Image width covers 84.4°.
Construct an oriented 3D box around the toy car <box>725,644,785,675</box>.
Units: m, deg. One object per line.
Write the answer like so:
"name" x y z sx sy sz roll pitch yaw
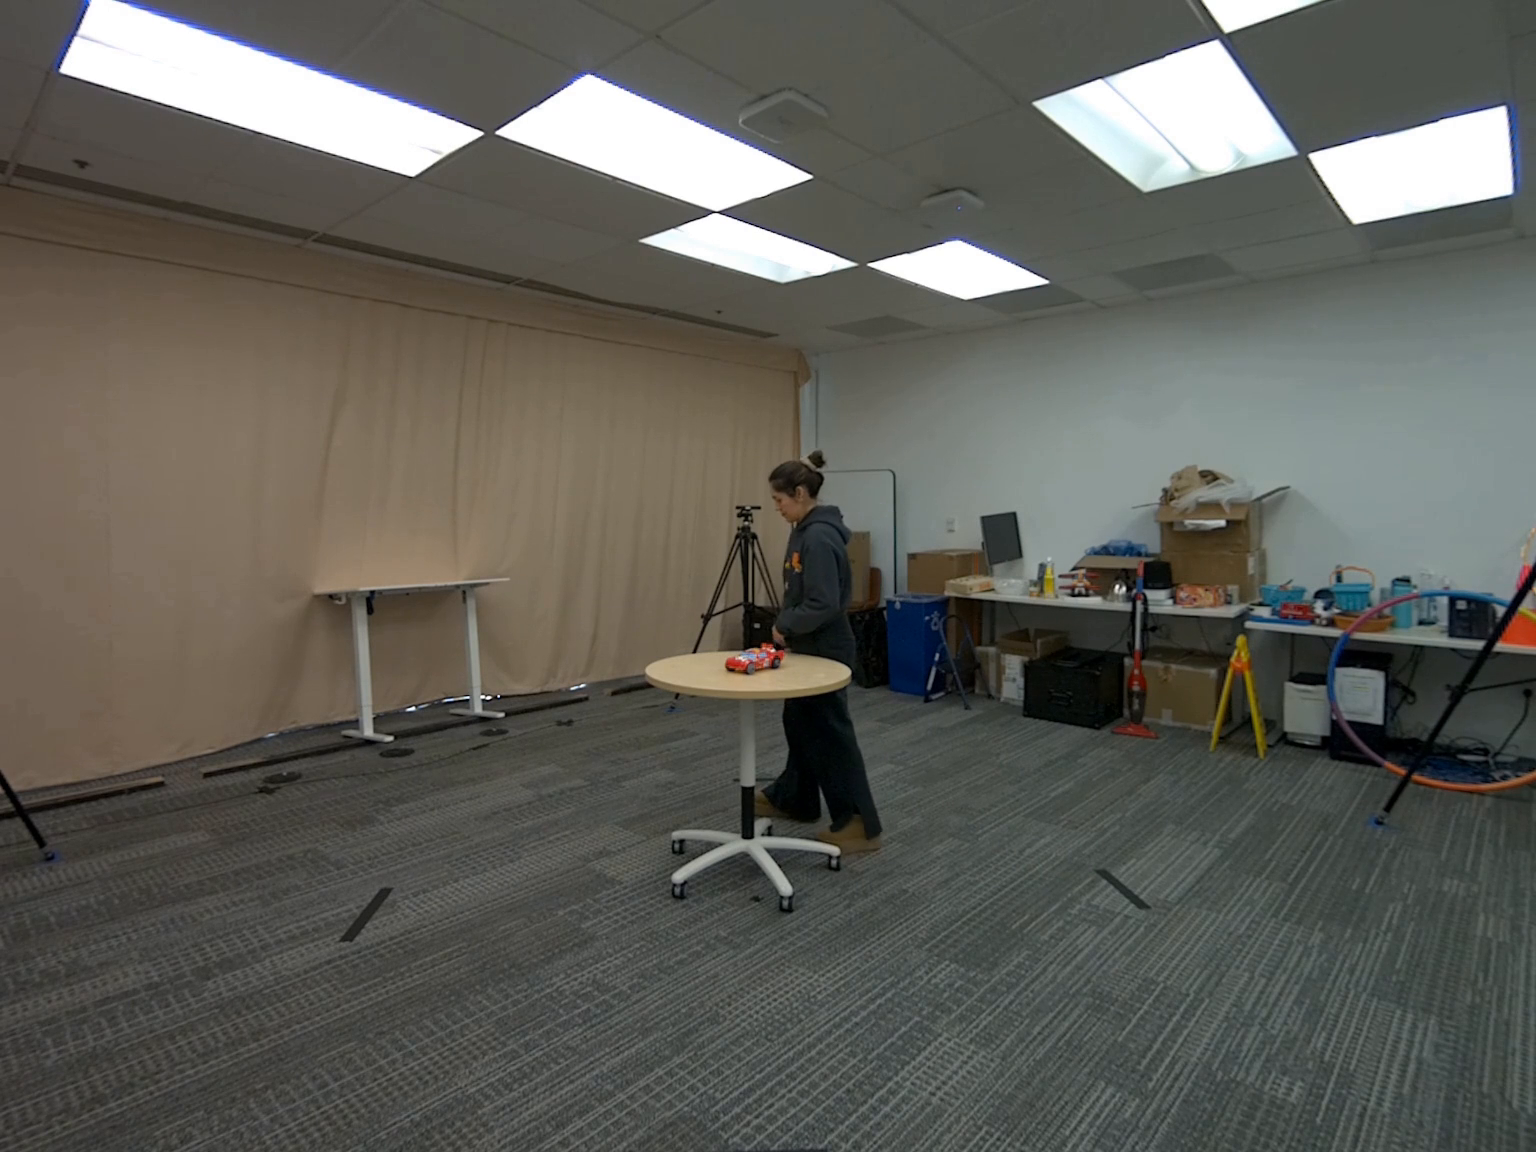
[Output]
"toy car" -0.024 0.315 3.142 0.134 0.082 0.248 4 17 42
